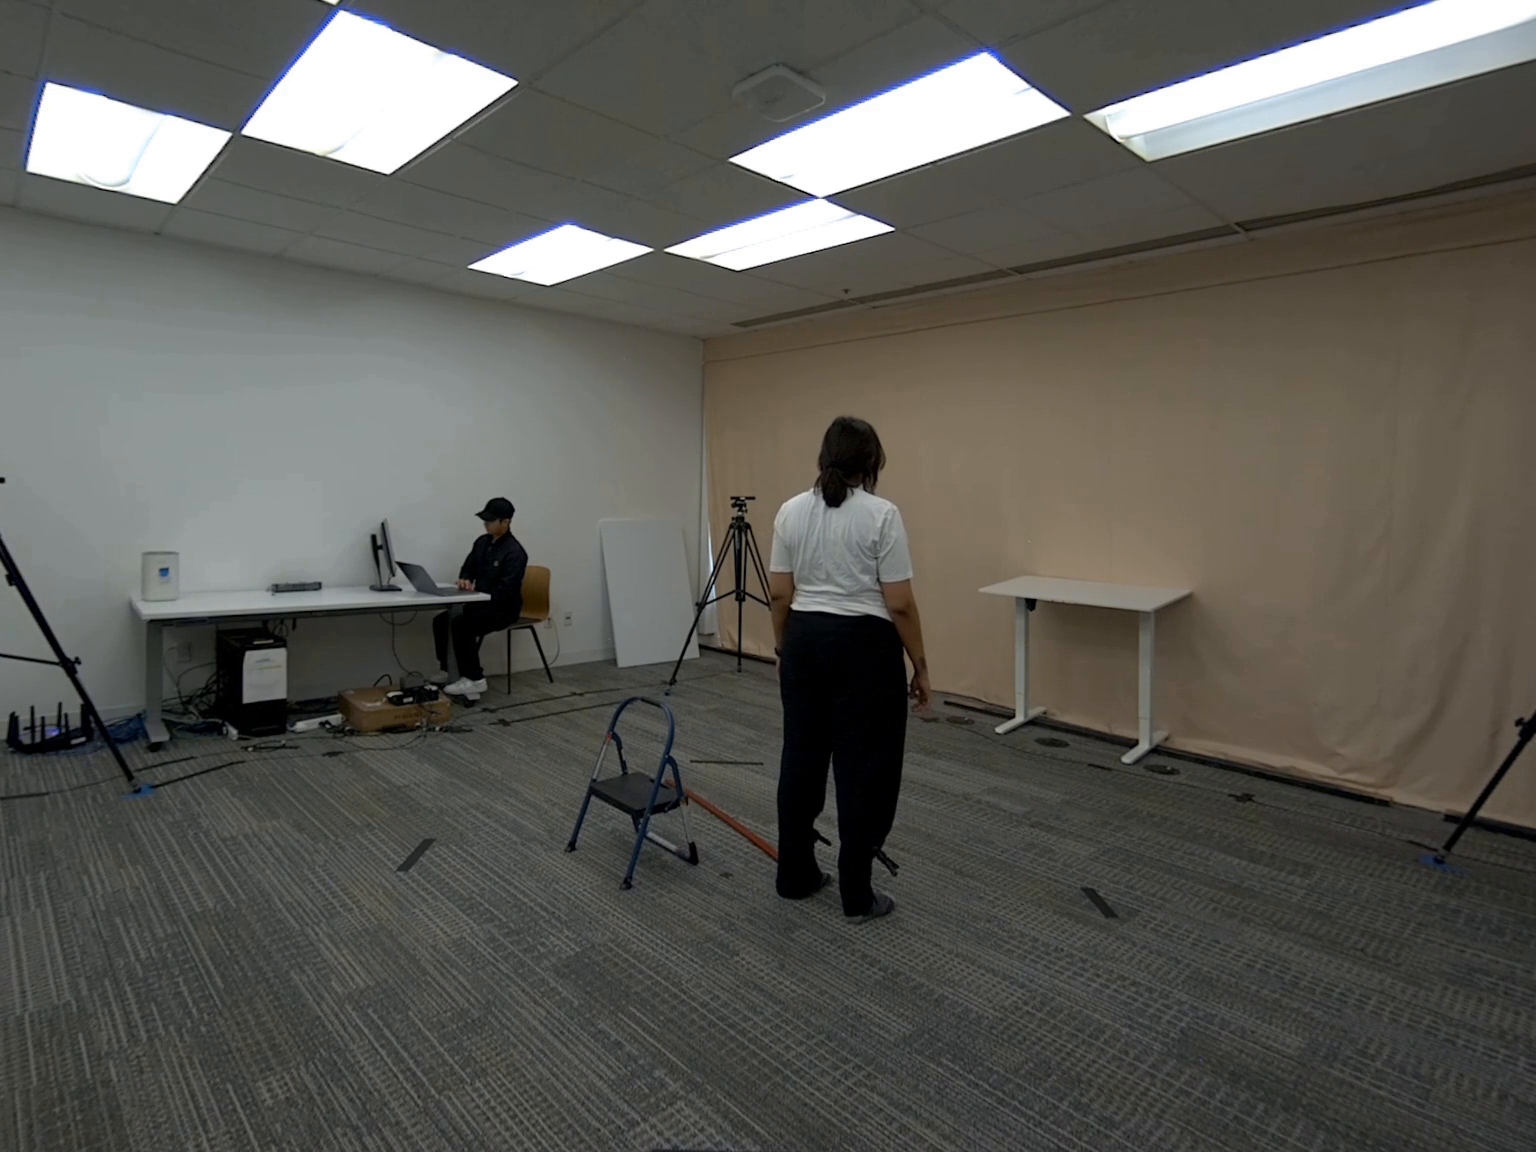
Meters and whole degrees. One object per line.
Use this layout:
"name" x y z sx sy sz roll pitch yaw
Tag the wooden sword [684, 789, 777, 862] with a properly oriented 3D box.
"wooden sword" -0.224 1.021 3.650 0.023 0.051 1.049 5 3 -32
